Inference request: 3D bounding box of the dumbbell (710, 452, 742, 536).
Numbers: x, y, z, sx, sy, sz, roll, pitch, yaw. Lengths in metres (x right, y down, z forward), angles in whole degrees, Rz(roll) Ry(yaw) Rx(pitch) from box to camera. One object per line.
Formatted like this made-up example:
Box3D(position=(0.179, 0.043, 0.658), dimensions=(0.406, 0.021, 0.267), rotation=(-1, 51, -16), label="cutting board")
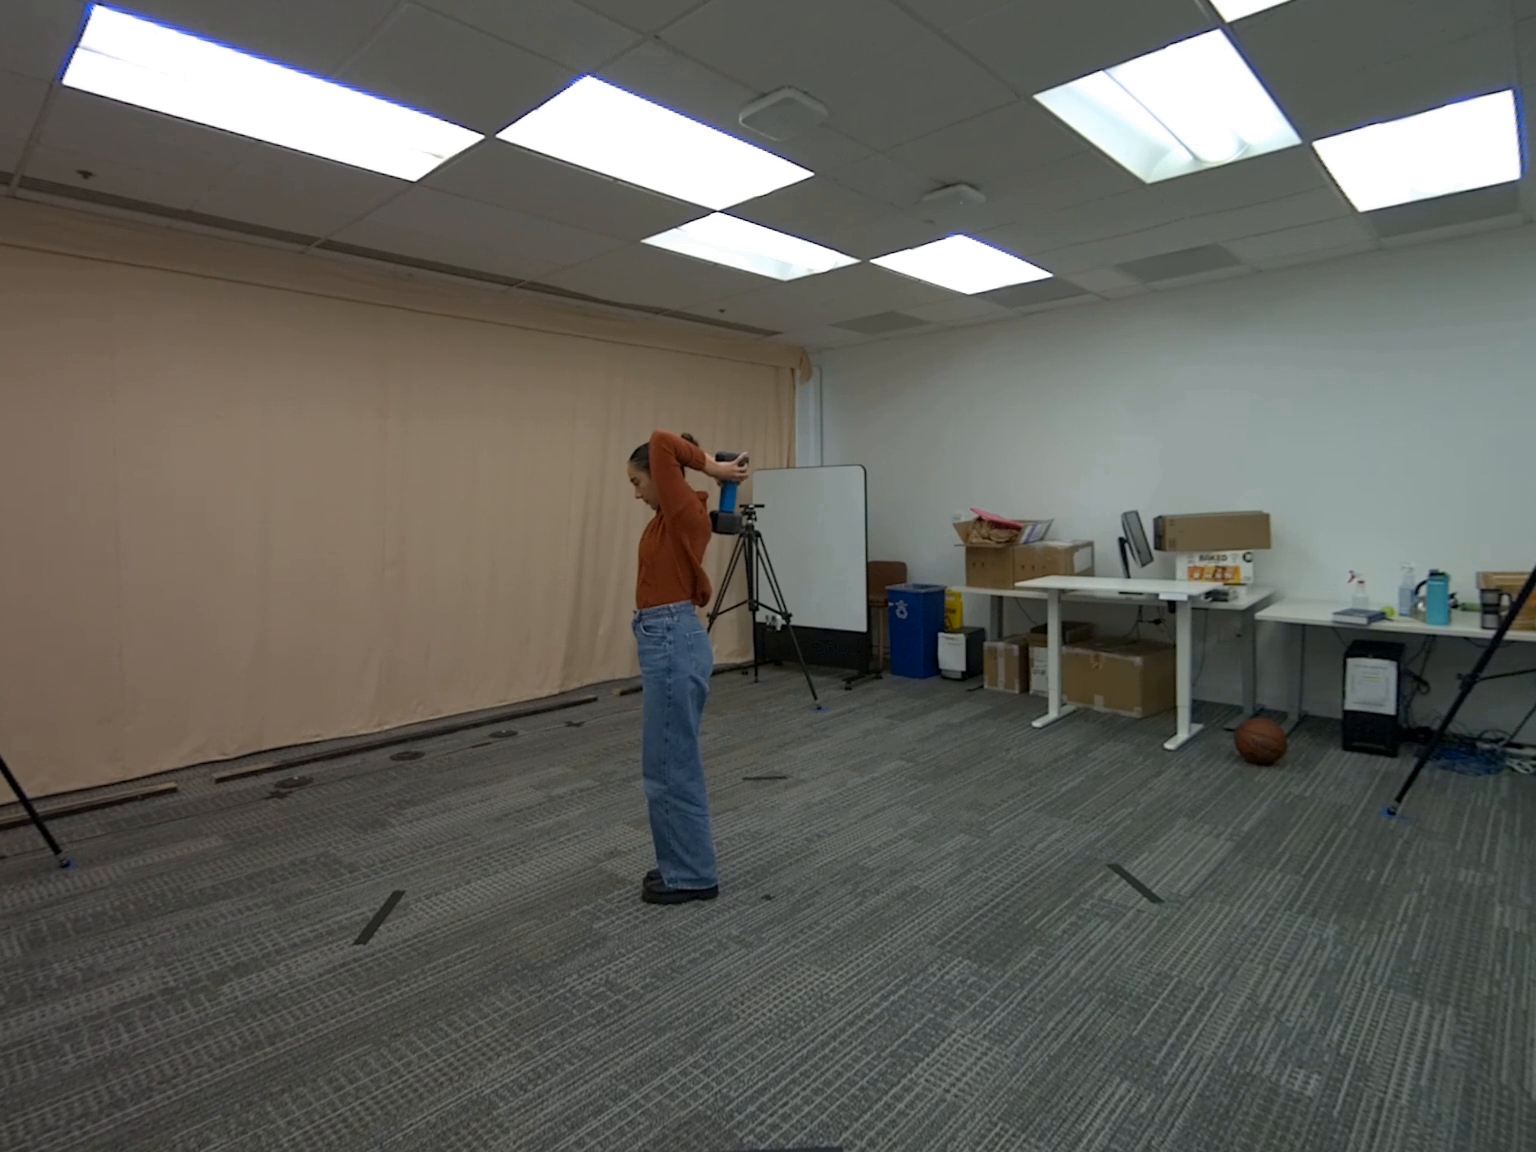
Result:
Box3D(position=(-0.147, -0.297, 3.030), dimensions=(0.122, 0.292, 0.110), rotation=(1, 6, -9), label="dumbbell")
